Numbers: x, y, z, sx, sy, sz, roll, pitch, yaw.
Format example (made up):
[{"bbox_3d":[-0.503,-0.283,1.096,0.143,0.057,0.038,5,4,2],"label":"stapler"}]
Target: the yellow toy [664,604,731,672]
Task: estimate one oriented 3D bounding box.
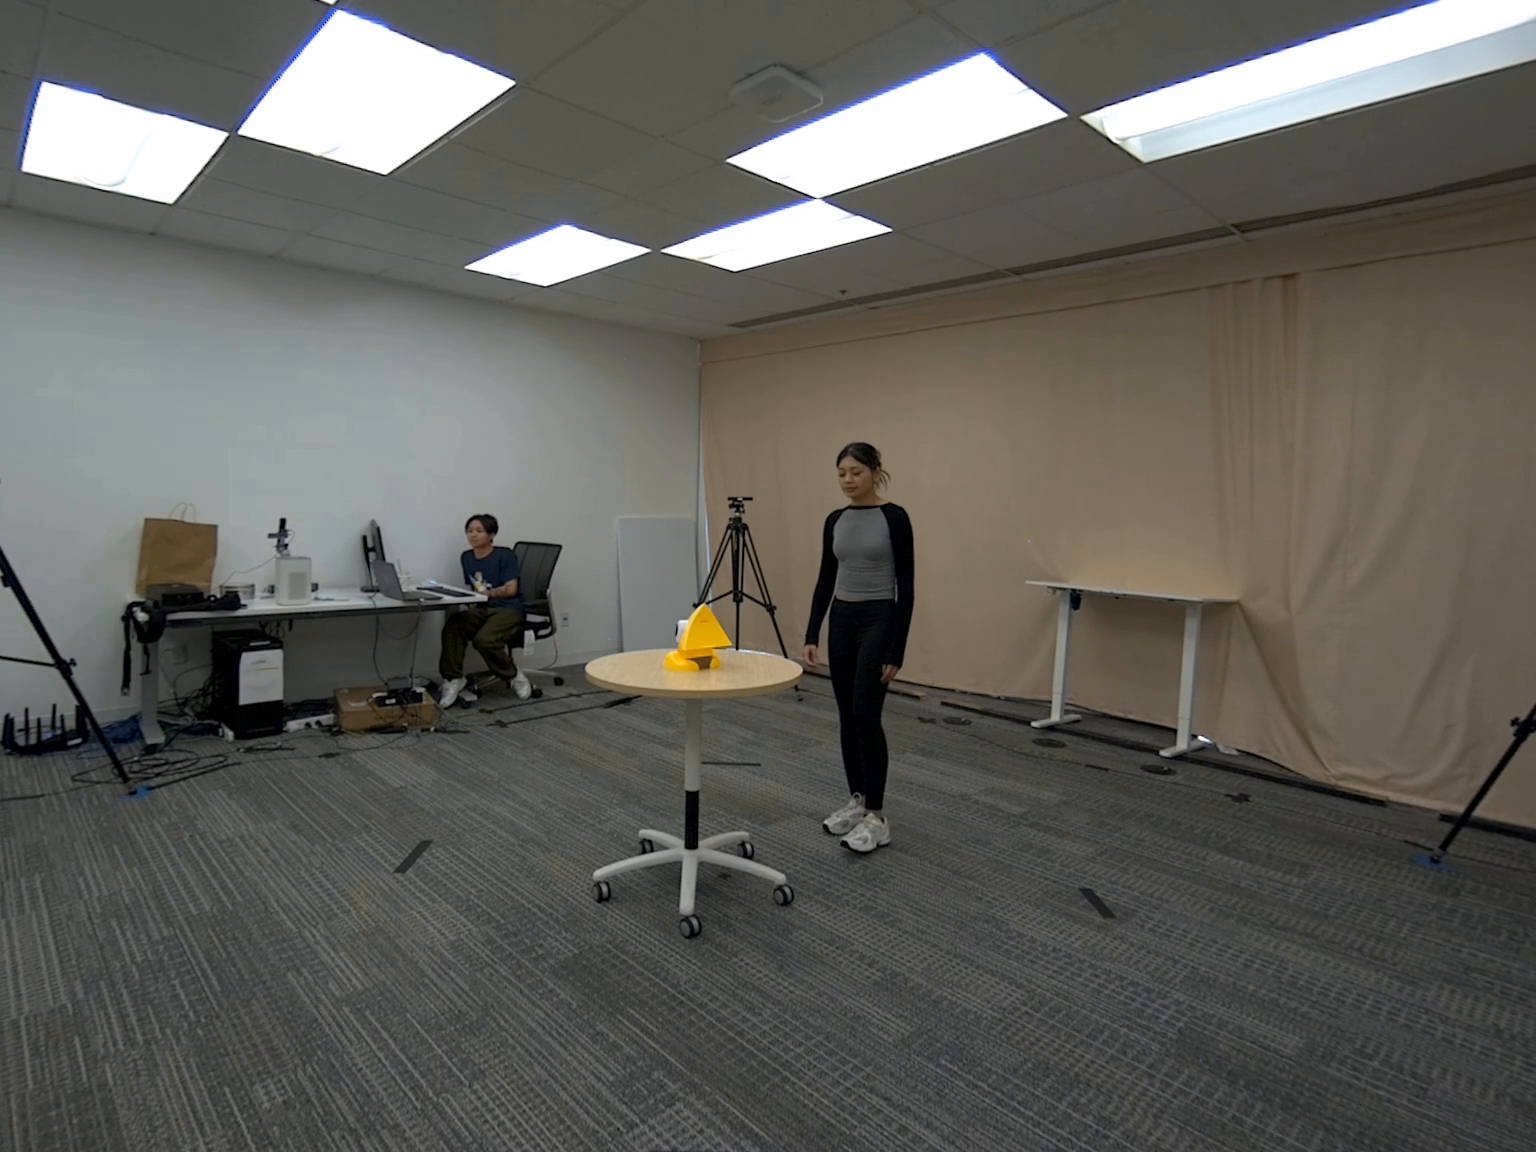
[{"bbox_3d":[-0.272,0.208,2.989,0.200,0.230,0.198,-2,4,-39],"label":"yellow toy"}]
